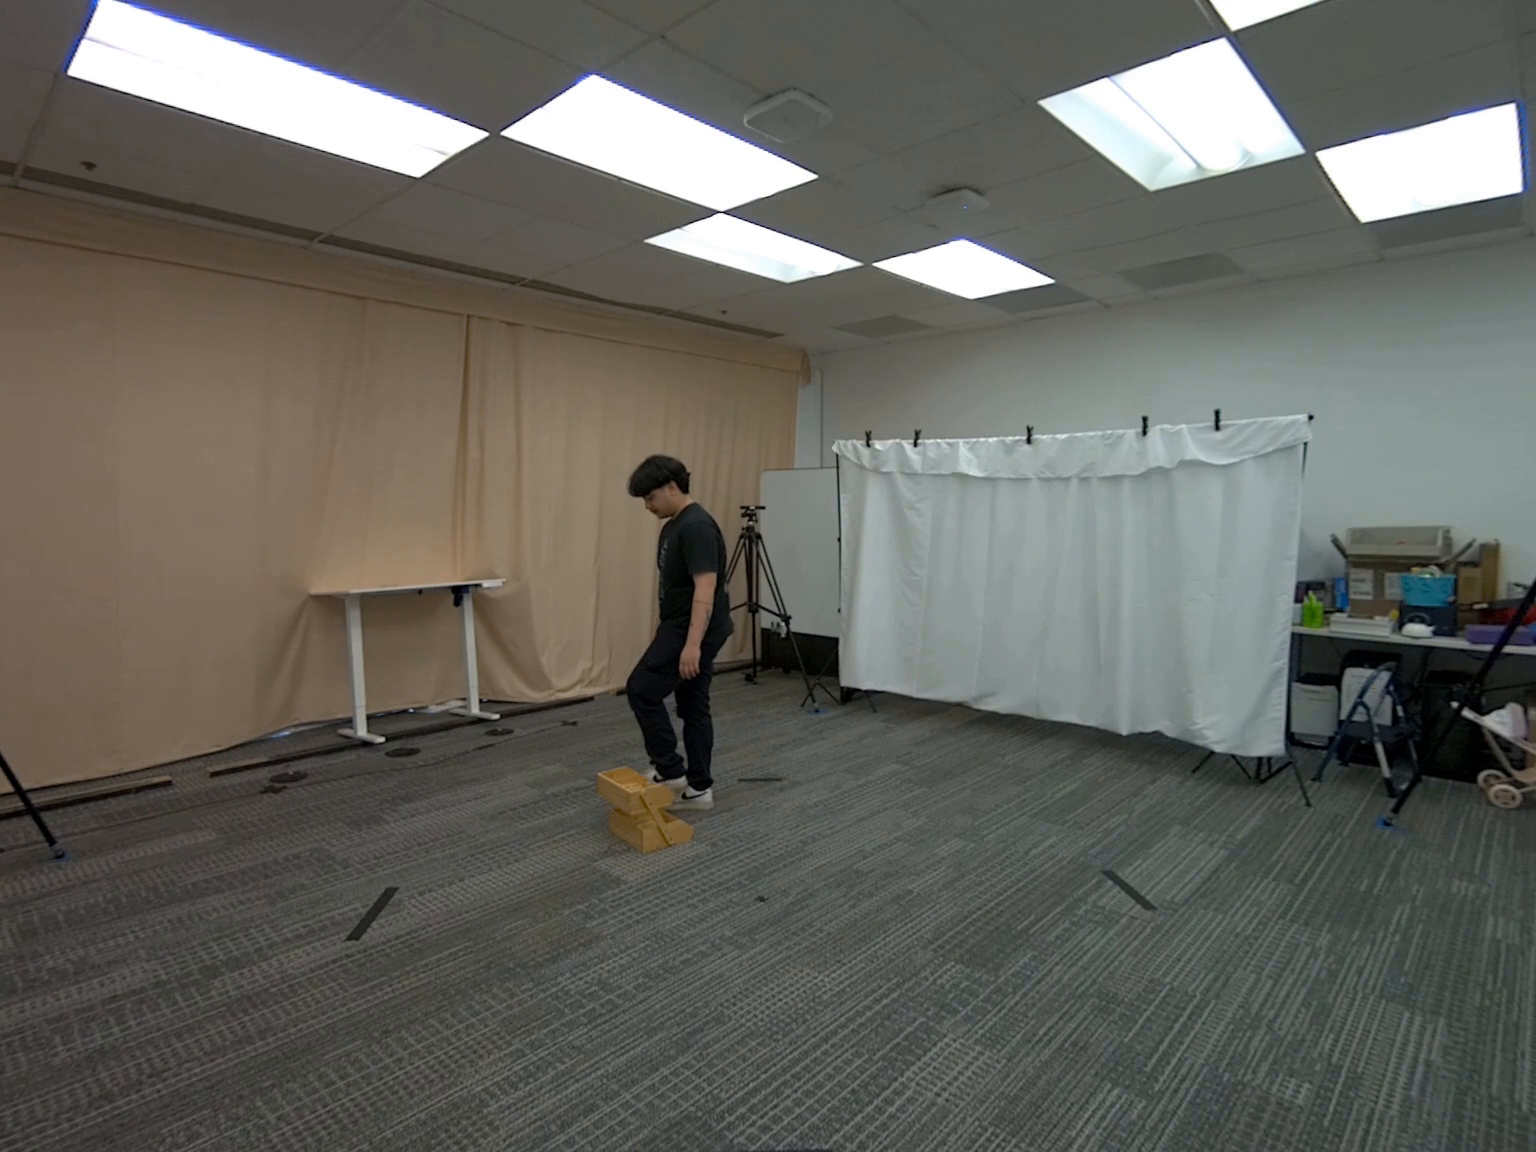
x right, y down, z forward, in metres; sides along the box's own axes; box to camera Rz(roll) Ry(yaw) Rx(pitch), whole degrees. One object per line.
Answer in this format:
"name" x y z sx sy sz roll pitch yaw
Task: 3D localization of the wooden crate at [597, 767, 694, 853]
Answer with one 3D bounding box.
"wooden crate" -0.520 0.964 3.561 0.293 0.272 0.335 -4 5 -36
